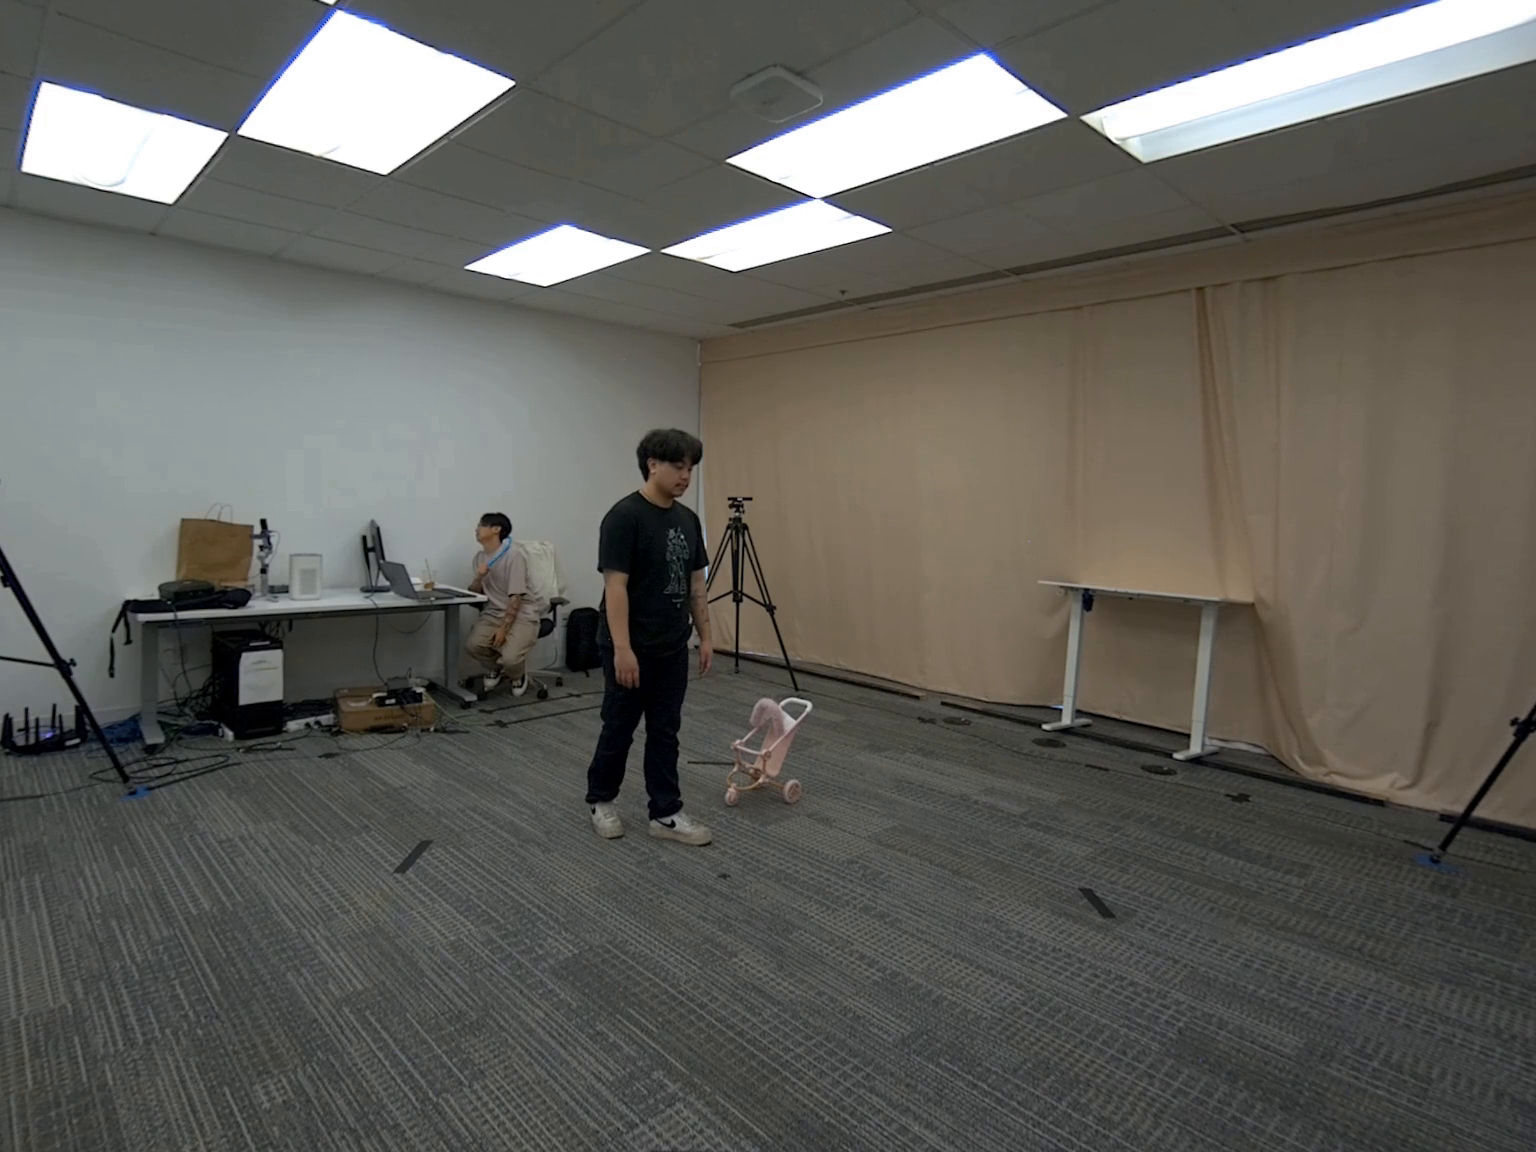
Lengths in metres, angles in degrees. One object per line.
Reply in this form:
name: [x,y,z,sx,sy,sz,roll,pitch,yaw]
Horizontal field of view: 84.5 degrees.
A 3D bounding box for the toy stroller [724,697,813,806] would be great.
toy stroller: [-0.029,0.816,3.941,0.332,0.537,0.288,18,-7,-35]
